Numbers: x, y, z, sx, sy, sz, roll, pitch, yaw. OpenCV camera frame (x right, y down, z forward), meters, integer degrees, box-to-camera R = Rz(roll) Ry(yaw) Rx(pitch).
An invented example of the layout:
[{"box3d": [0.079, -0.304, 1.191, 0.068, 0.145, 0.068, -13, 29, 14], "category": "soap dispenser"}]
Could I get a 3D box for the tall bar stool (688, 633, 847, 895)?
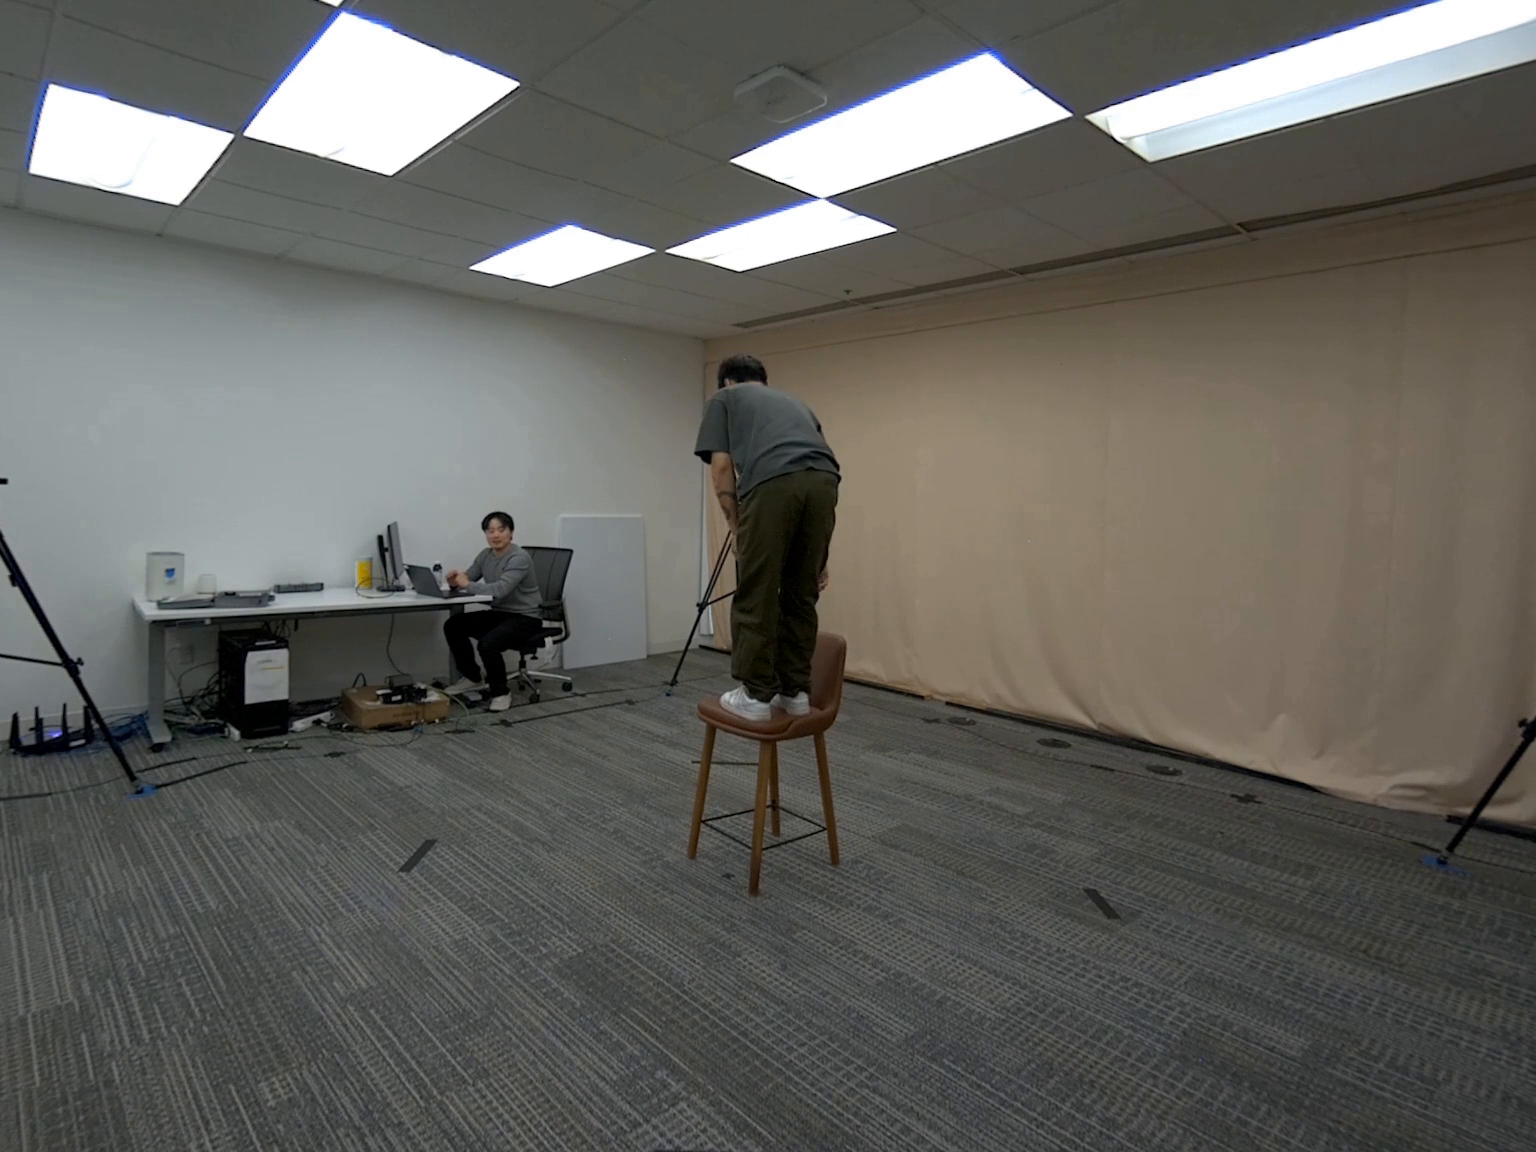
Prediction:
[{"box3d": [-0.005, 0.664, 3.221, 0.456, 0.889, 0.468, 1, 2, -39], "category": "tall bar stool"}]
